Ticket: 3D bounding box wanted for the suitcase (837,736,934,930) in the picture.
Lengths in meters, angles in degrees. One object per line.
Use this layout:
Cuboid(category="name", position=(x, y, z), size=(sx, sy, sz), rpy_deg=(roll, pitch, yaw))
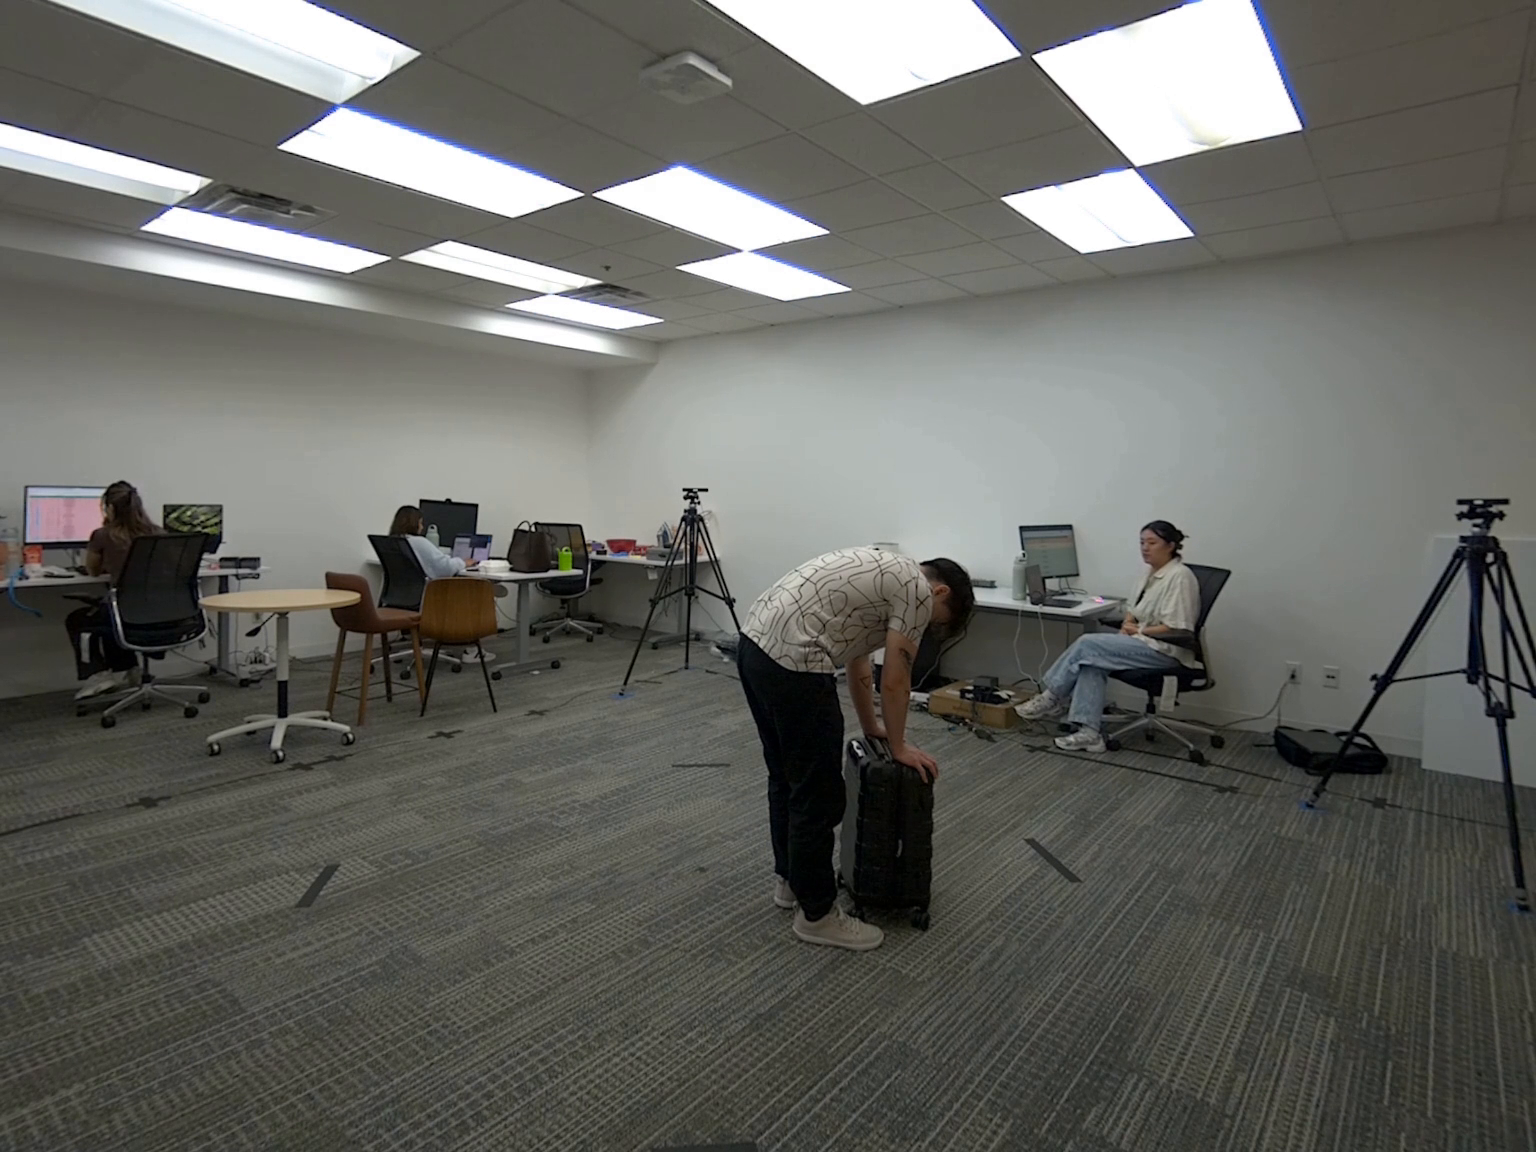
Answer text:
Cuboid(category="suitcase", position=(0.399, 0.835, 2.879), size=(0.247, 0.548, 0.377), rpy_deg=(4, 2, -4))
